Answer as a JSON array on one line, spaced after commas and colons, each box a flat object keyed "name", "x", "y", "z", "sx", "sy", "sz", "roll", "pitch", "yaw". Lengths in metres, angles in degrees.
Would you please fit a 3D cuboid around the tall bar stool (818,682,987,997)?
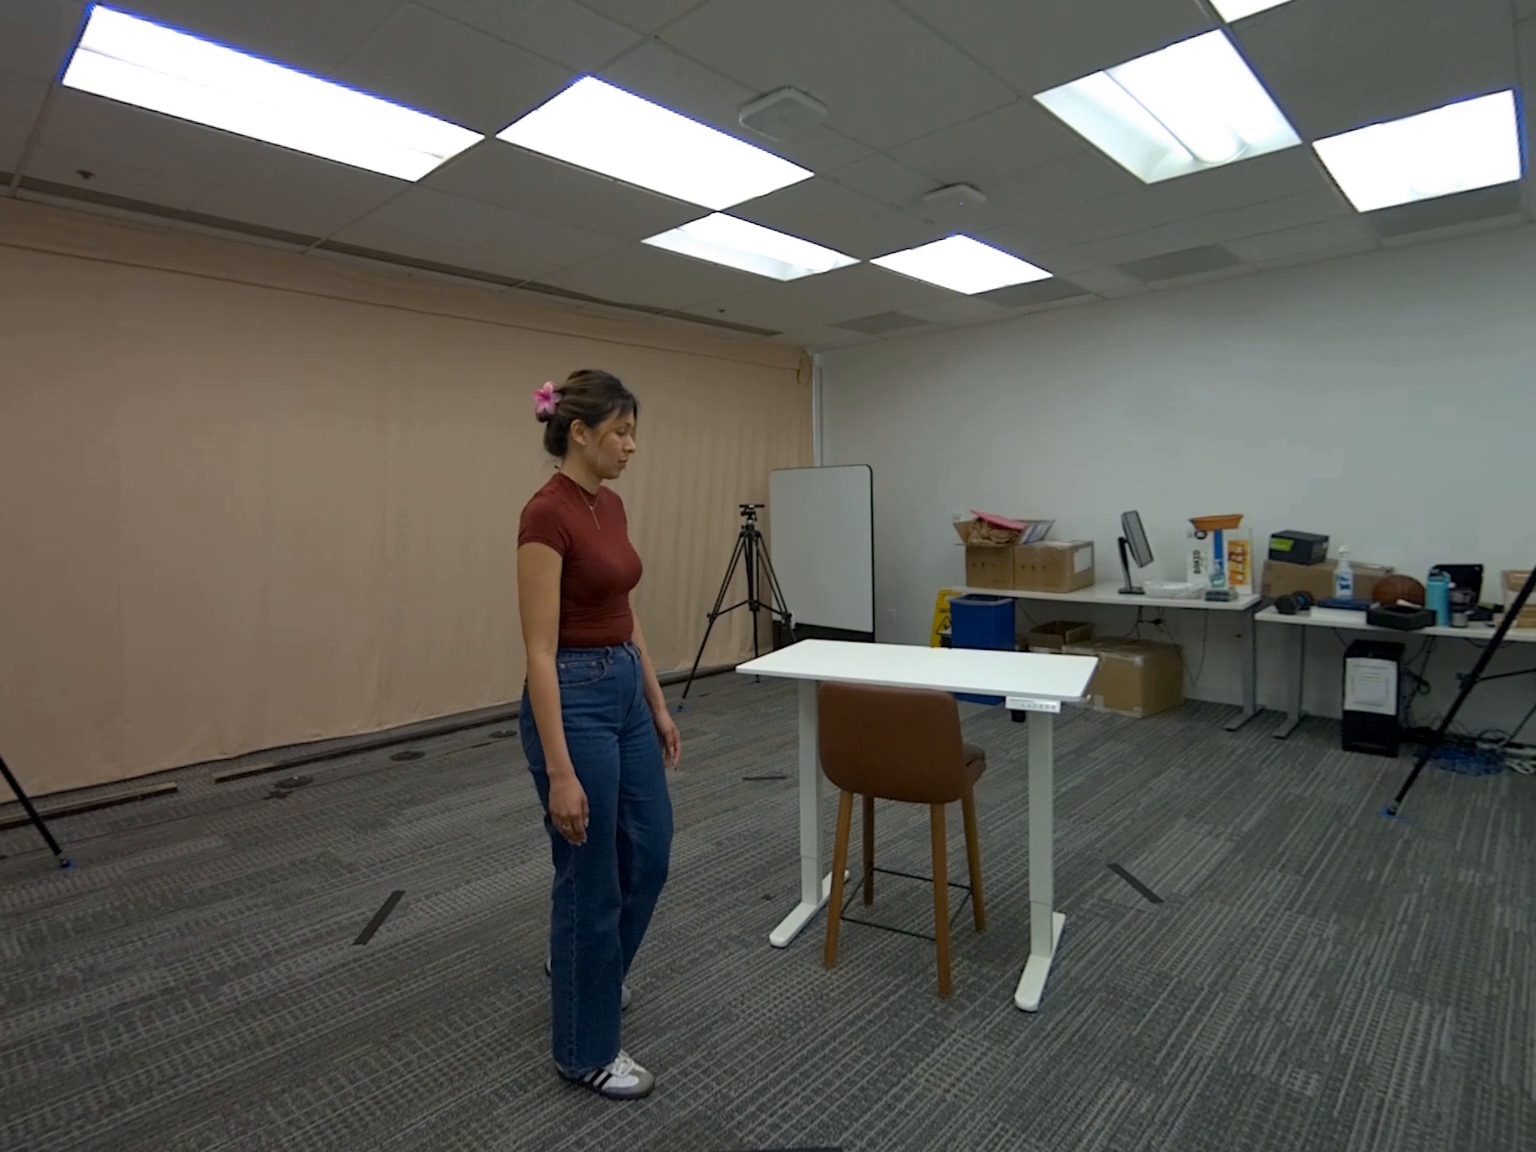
[{"name": "tall bar stool", "x": 0.428, "y": 0.733, "z": 2.615, "sx": 0.469, "sy": 0.887, "sz": 0.457, "roll": 1, "pitch": 5, "yaw": 27}]
